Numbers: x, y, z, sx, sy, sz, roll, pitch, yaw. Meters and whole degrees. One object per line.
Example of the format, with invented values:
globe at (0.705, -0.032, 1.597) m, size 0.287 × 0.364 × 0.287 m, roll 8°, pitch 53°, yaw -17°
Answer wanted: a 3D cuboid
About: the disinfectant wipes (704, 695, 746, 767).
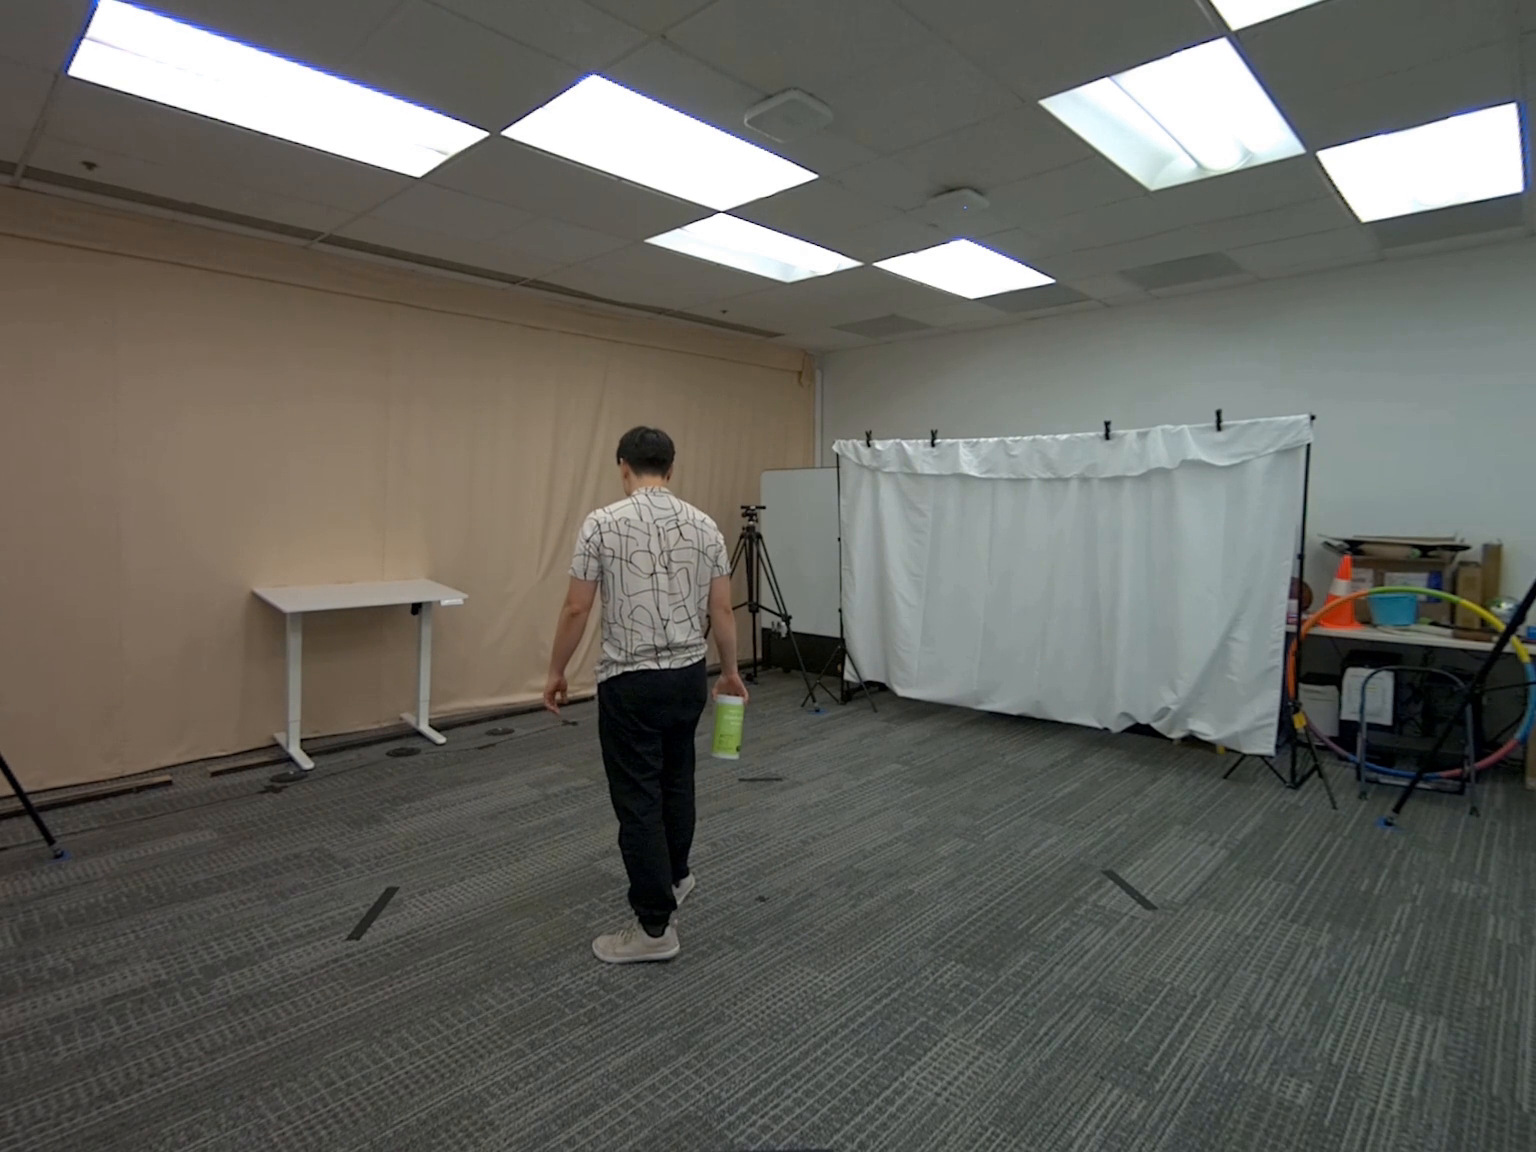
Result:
disinfectant wipes at (-0.149, 0.528, 2.913) m, size 0.118 × 0.218 × 0.117 m, roll 6°, pitch -6°, yaw -1°
